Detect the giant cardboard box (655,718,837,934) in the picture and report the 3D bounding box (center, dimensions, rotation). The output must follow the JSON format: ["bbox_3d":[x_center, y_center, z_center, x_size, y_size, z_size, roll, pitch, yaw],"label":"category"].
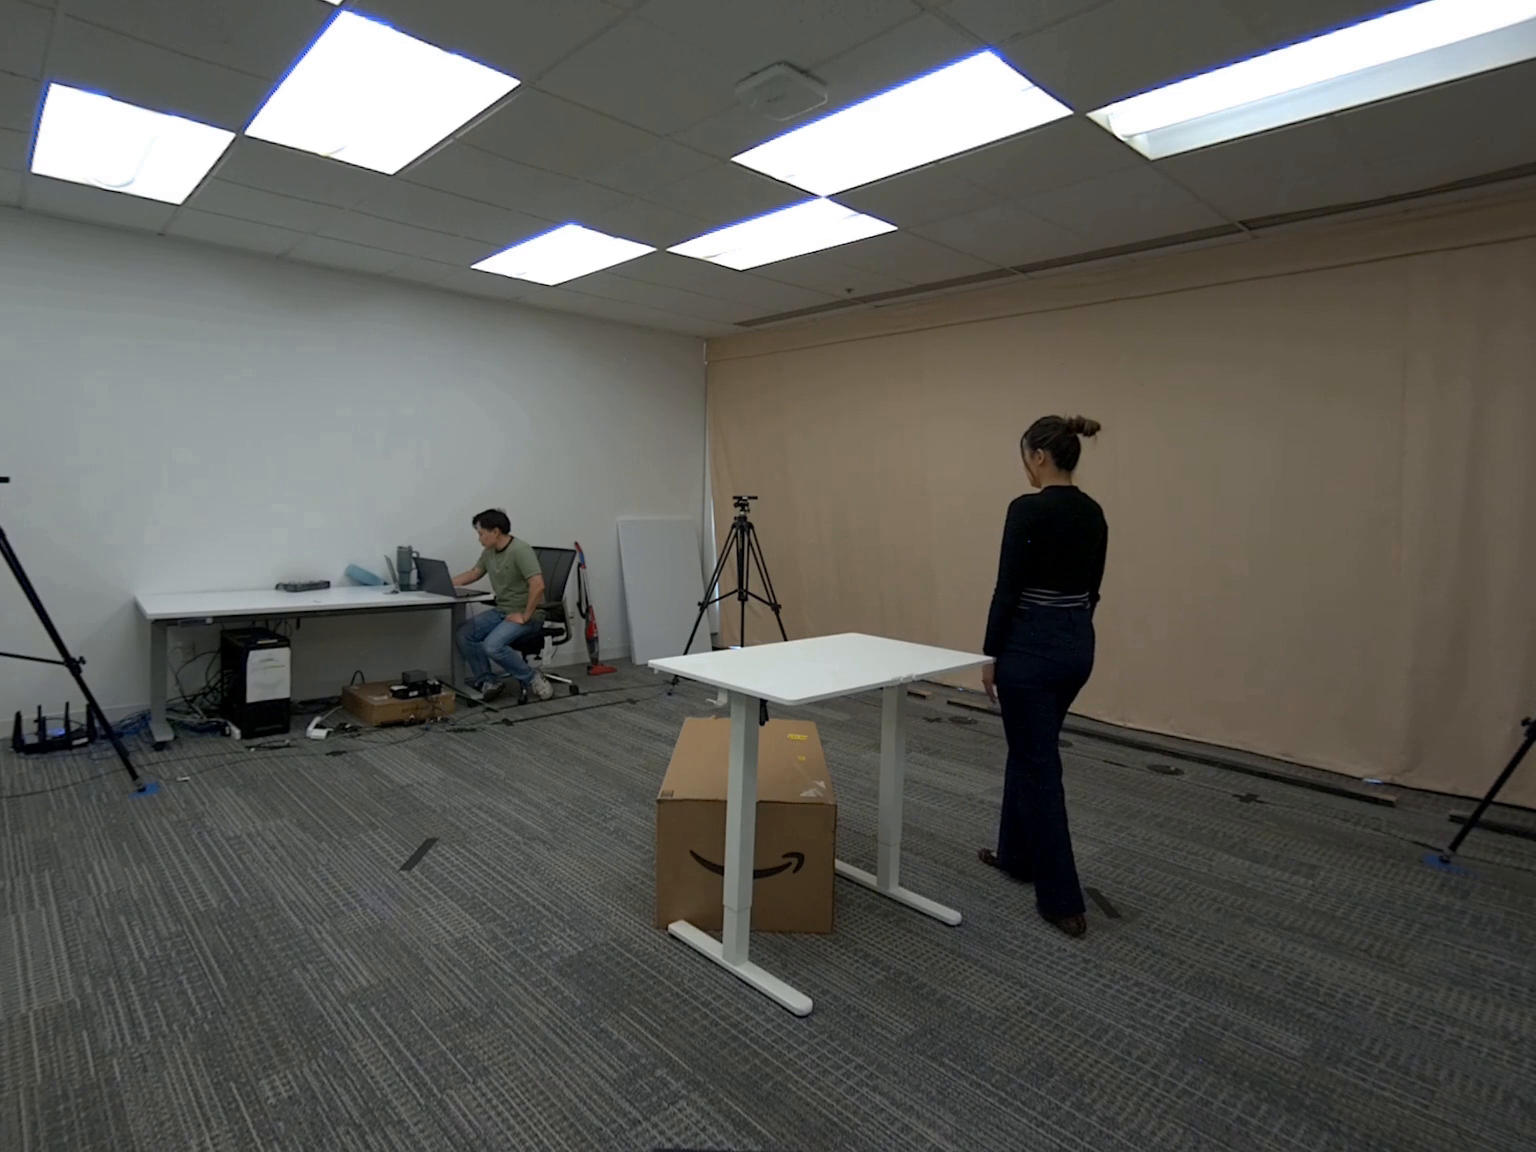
[{"bbox_3d":[-0.085,0.880,3.196,0.578,0.425,1.028,2,5,0],"label":"giant cardboard box"}]
